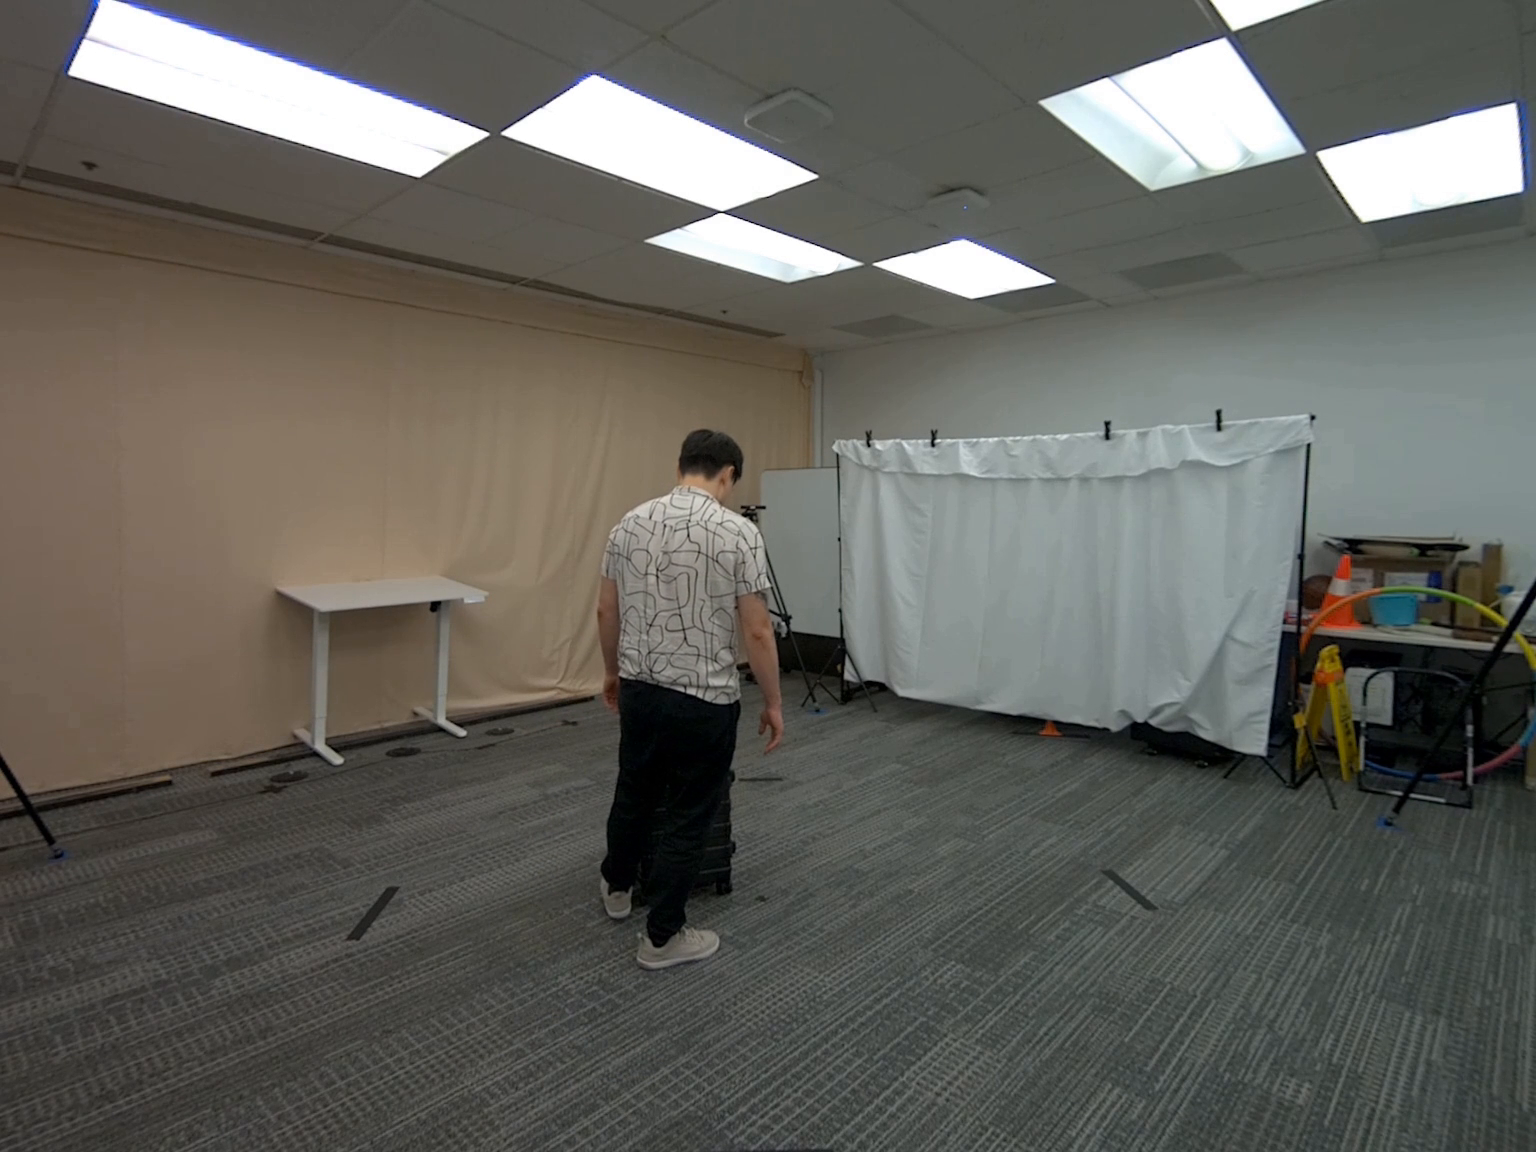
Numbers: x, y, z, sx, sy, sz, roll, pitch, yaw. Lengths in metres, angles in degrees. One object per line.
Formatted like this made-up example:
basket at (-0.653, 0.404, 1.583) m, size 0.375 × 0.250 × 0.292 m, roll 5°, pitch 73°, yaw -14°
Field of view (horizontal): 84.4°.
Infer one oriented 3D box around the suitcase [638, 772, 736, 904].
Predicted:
suitcase at (-0.325, 0.859, 3.046) m, size 0.368 × 0.548 × 0.254 m, roll -2°, pitch 3°, yaw -20°
